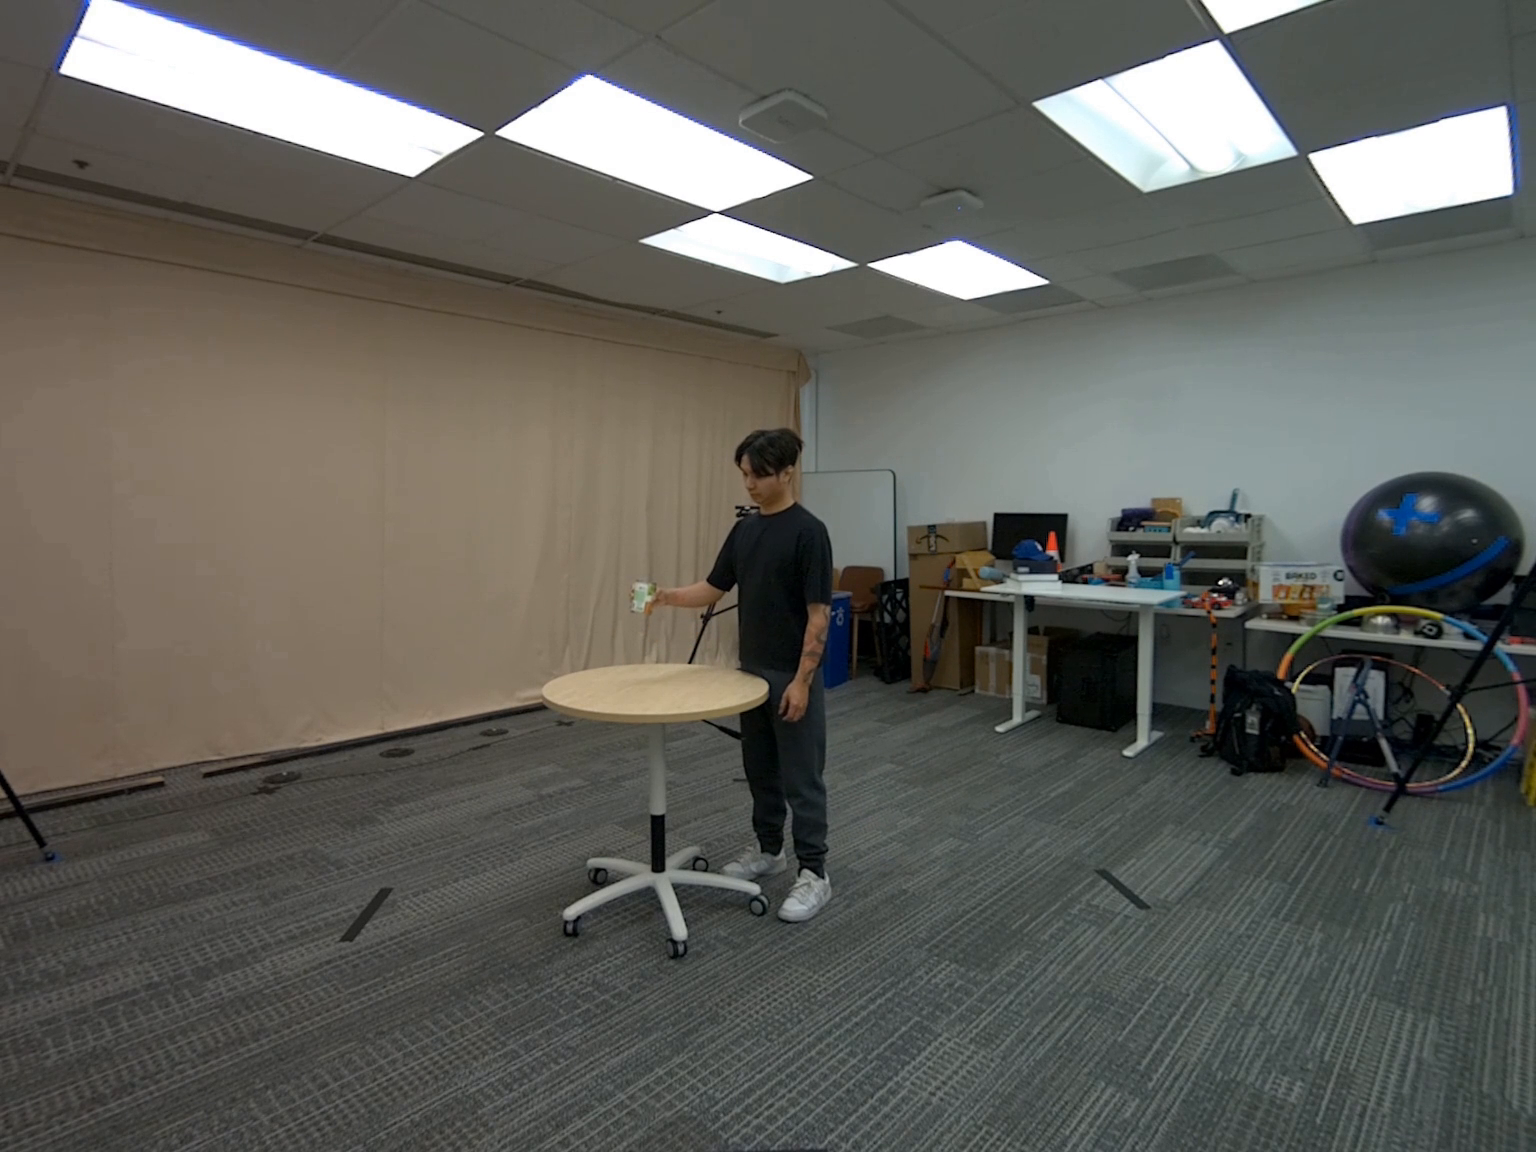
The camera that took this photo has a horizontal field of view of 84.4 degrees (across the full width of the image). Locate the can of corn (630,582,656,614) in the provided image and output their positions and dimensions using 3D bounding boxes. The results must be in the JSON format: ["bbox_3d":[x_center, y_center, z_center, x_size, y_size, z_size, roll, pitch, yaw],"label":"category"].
[{"bbox_3d":[-0.434,0.082,2.954,0.074,0.111,0.074,7,-1,-2],"label":"can of corn"}]
